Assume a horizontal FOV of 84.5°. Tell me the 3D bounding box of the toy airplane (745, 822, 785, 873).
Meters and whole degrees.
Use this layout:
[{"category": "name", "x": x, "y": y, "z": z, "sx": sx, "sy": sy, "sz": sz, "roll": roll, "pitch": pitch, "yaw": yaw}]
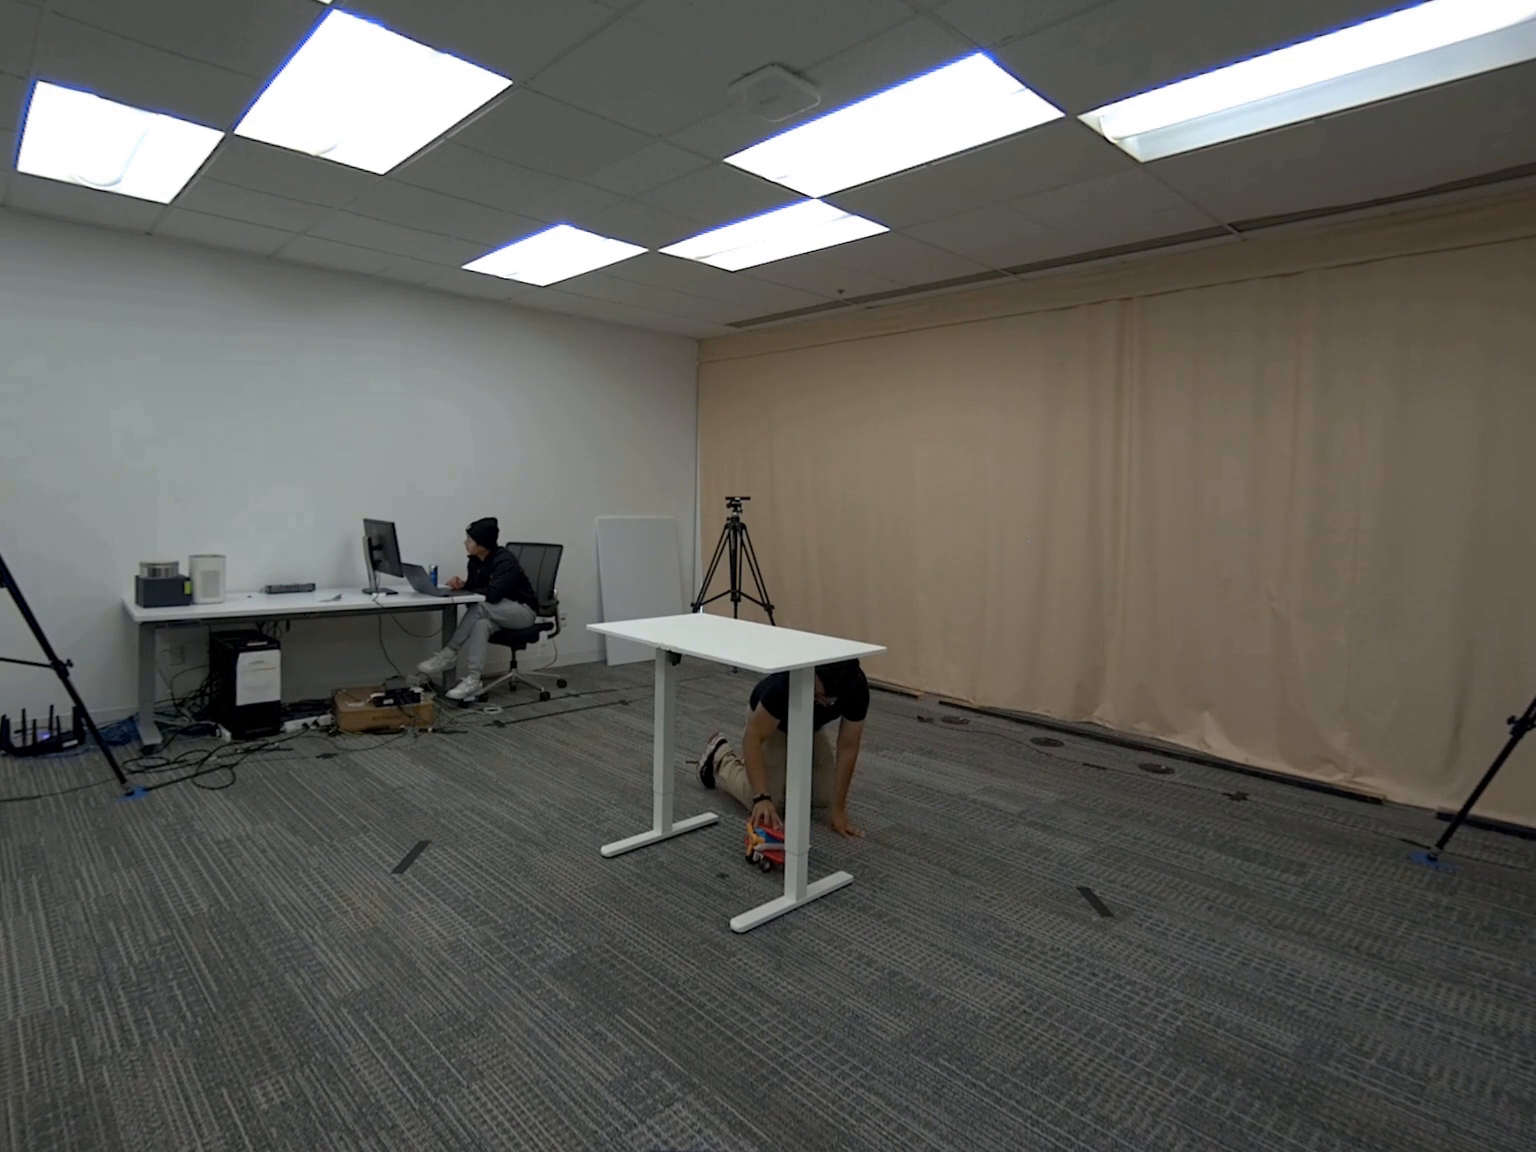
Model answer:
[{"category": "toy airplane", "x": 0.008, "y": 1.028, "z": 3.238, "sx": 0.256, "sy": 0.156, "sz": 0.255, "roll": 3, "pitch": 6, "yaw": 26}]
